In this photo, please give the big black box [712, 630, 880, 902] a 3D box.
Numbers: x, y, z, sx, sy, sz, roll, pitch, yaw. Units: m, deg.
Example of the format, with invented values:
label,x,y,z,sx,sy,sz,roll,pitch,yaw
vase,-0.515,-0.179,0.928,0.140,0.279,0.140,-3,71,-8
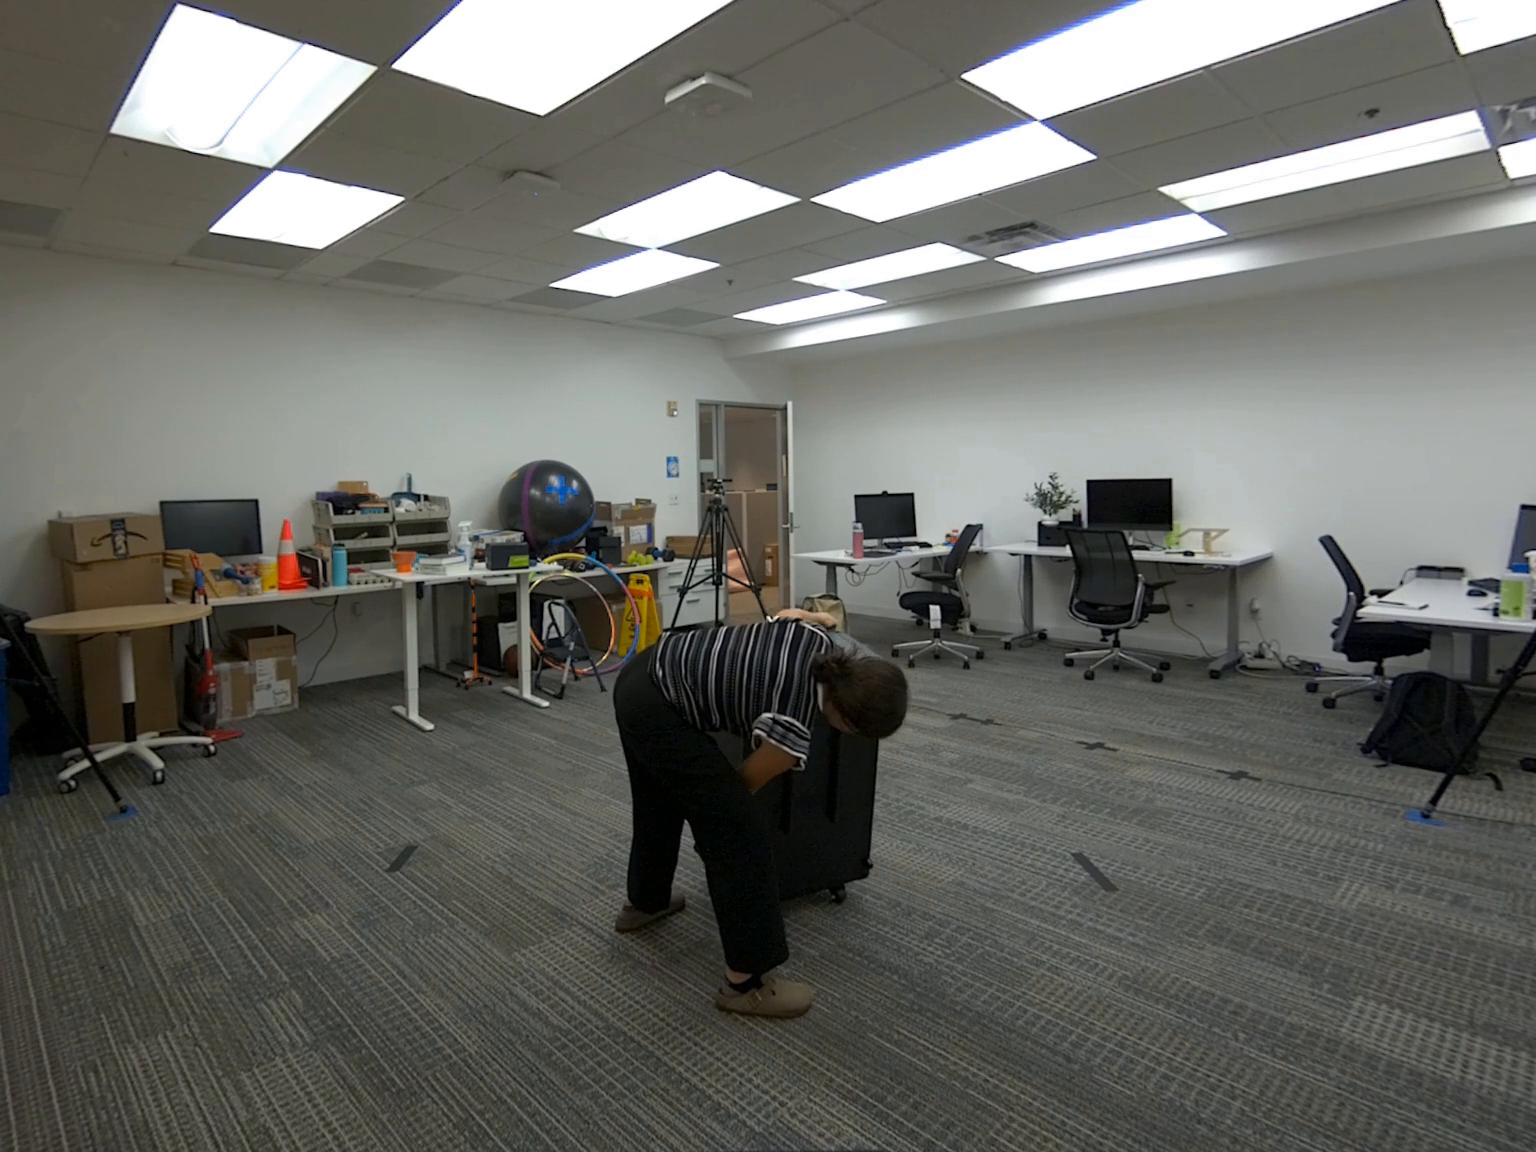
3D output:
label,x,y,z,sx,sy,sz,roll,pitch,yaw
big black box,0.064,0.637,2.790,0.511,0.849,0.410,-5,19,-24
